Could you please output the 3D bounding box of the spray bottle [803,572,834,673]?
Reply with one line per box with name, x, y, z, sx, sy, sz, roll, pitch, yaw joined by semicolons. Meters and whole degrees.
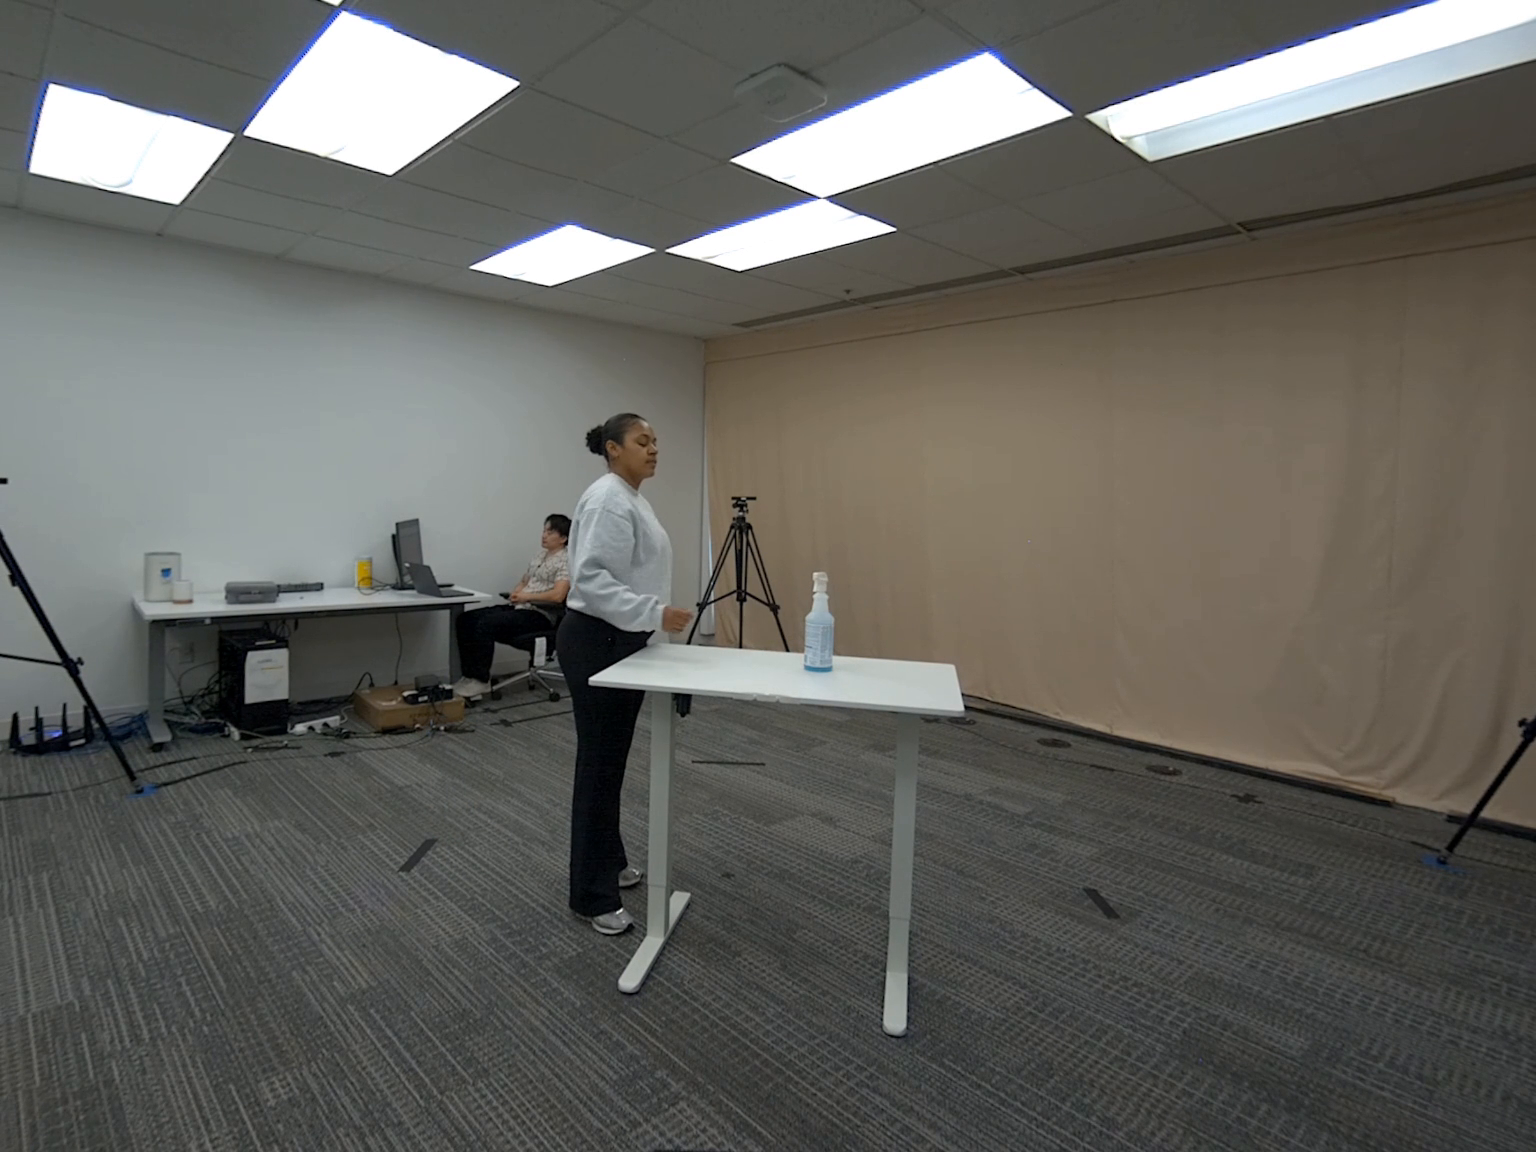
spray bottle;0.148;0.139;2.522;0.088;0.296;0.089;-2;5;-37
